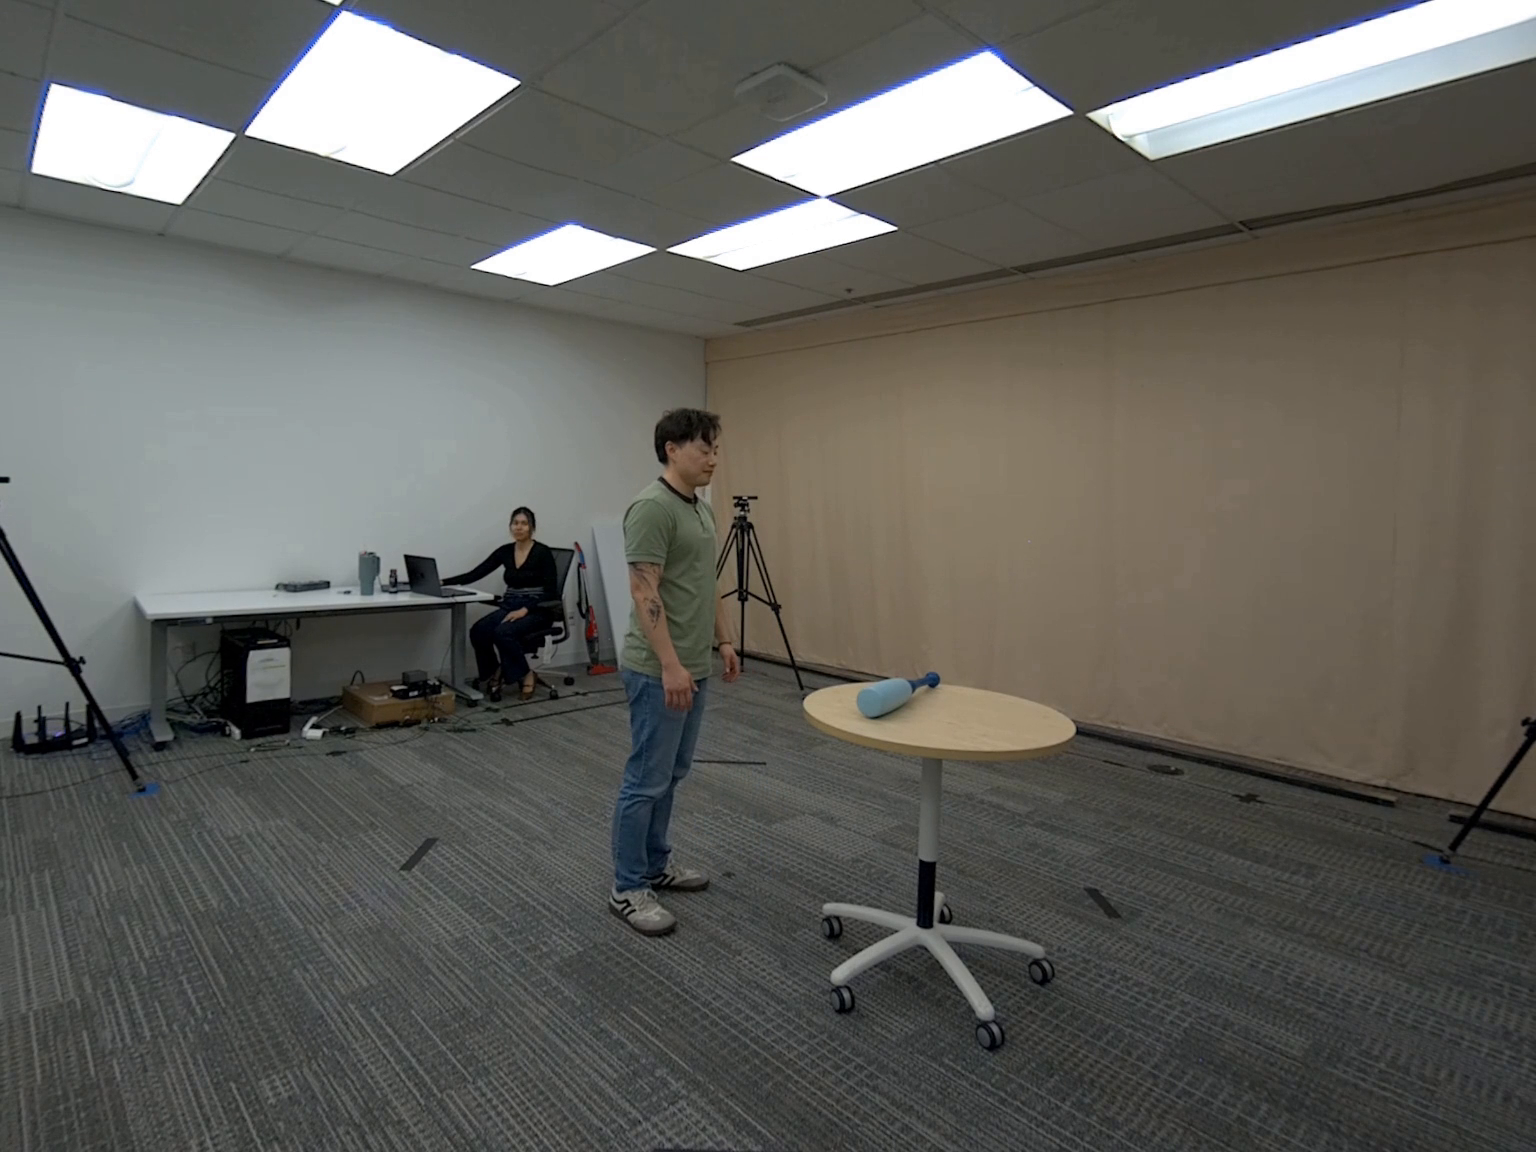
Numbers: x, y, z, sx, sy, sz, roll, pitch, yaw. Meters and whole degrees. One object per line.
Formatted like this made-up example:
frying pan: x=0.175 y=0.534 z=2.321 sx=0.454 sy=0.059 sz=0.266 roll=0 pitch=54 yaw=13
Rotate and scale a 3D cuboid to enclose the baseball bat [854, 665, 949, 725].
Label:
baseball bat: x=0.412 y=0.348 z=2.553 sx=0.091 sy=0.089 sz=0.532 roll=4 pitch=3 yaw=30
